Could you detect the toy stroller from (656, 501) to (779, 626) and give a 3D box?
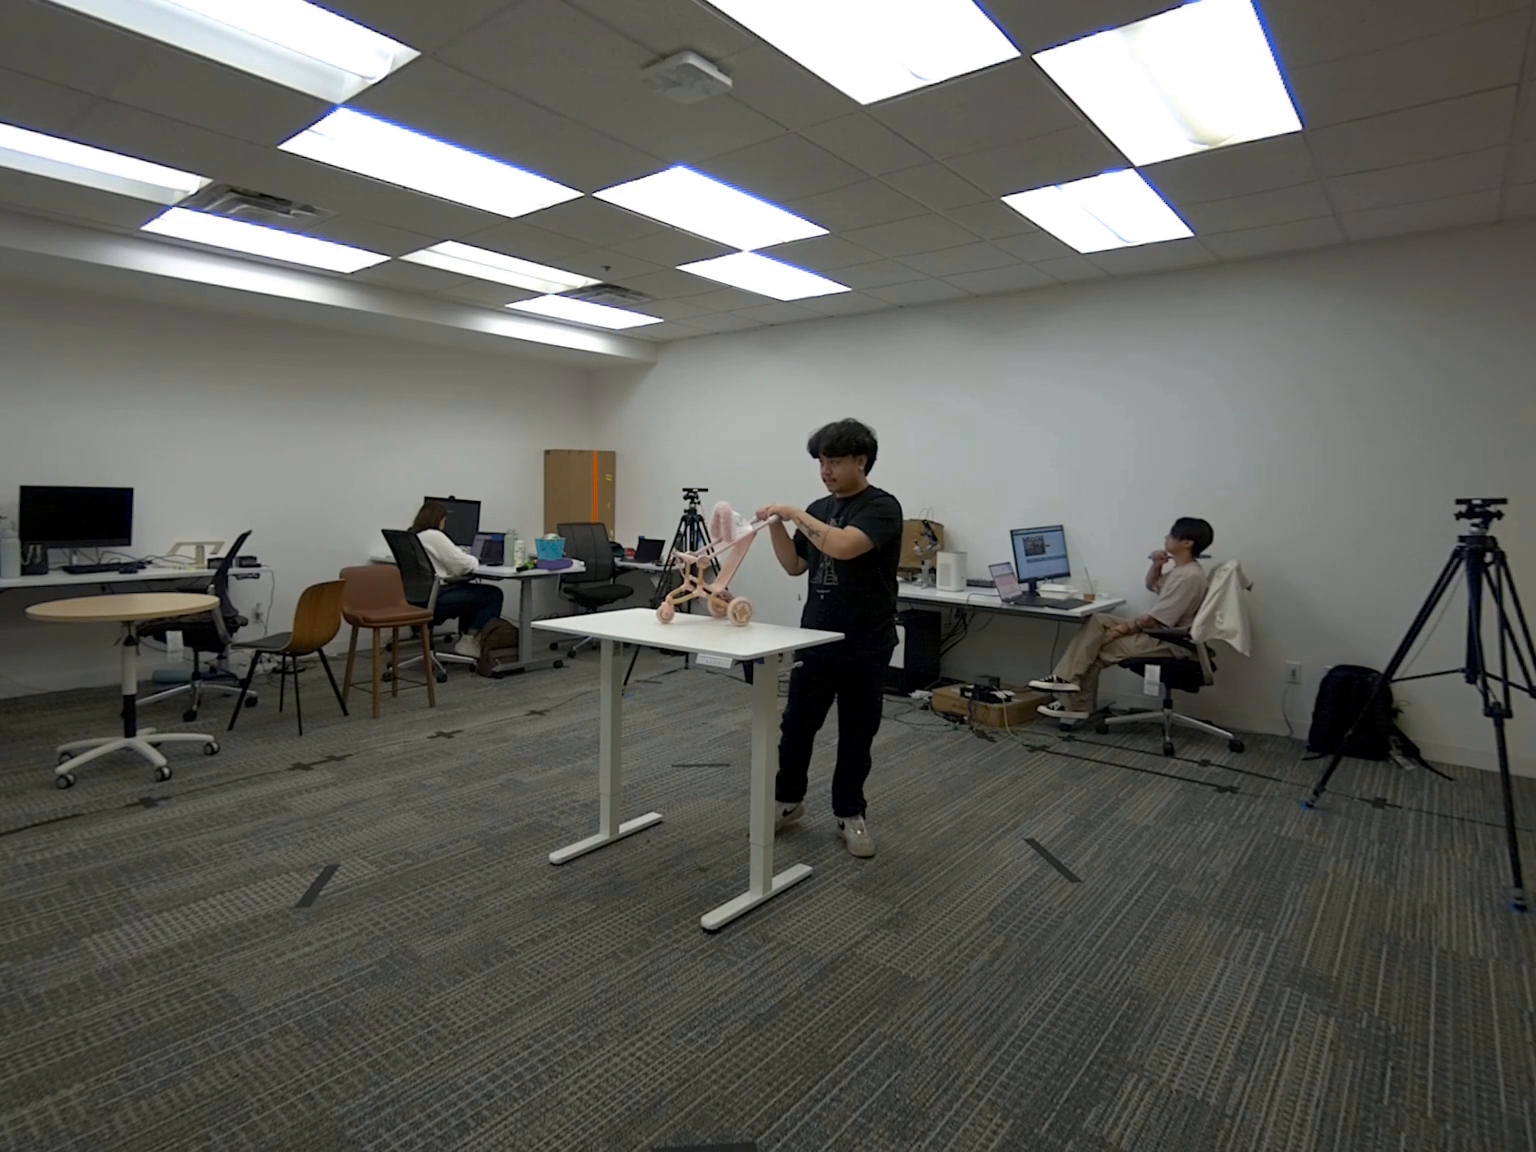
[{"bbox_3d":[-0.222,-0.048,3.250,0.335,0.535,0.286,16,-1,-14],"label":"toy stroller"}]
